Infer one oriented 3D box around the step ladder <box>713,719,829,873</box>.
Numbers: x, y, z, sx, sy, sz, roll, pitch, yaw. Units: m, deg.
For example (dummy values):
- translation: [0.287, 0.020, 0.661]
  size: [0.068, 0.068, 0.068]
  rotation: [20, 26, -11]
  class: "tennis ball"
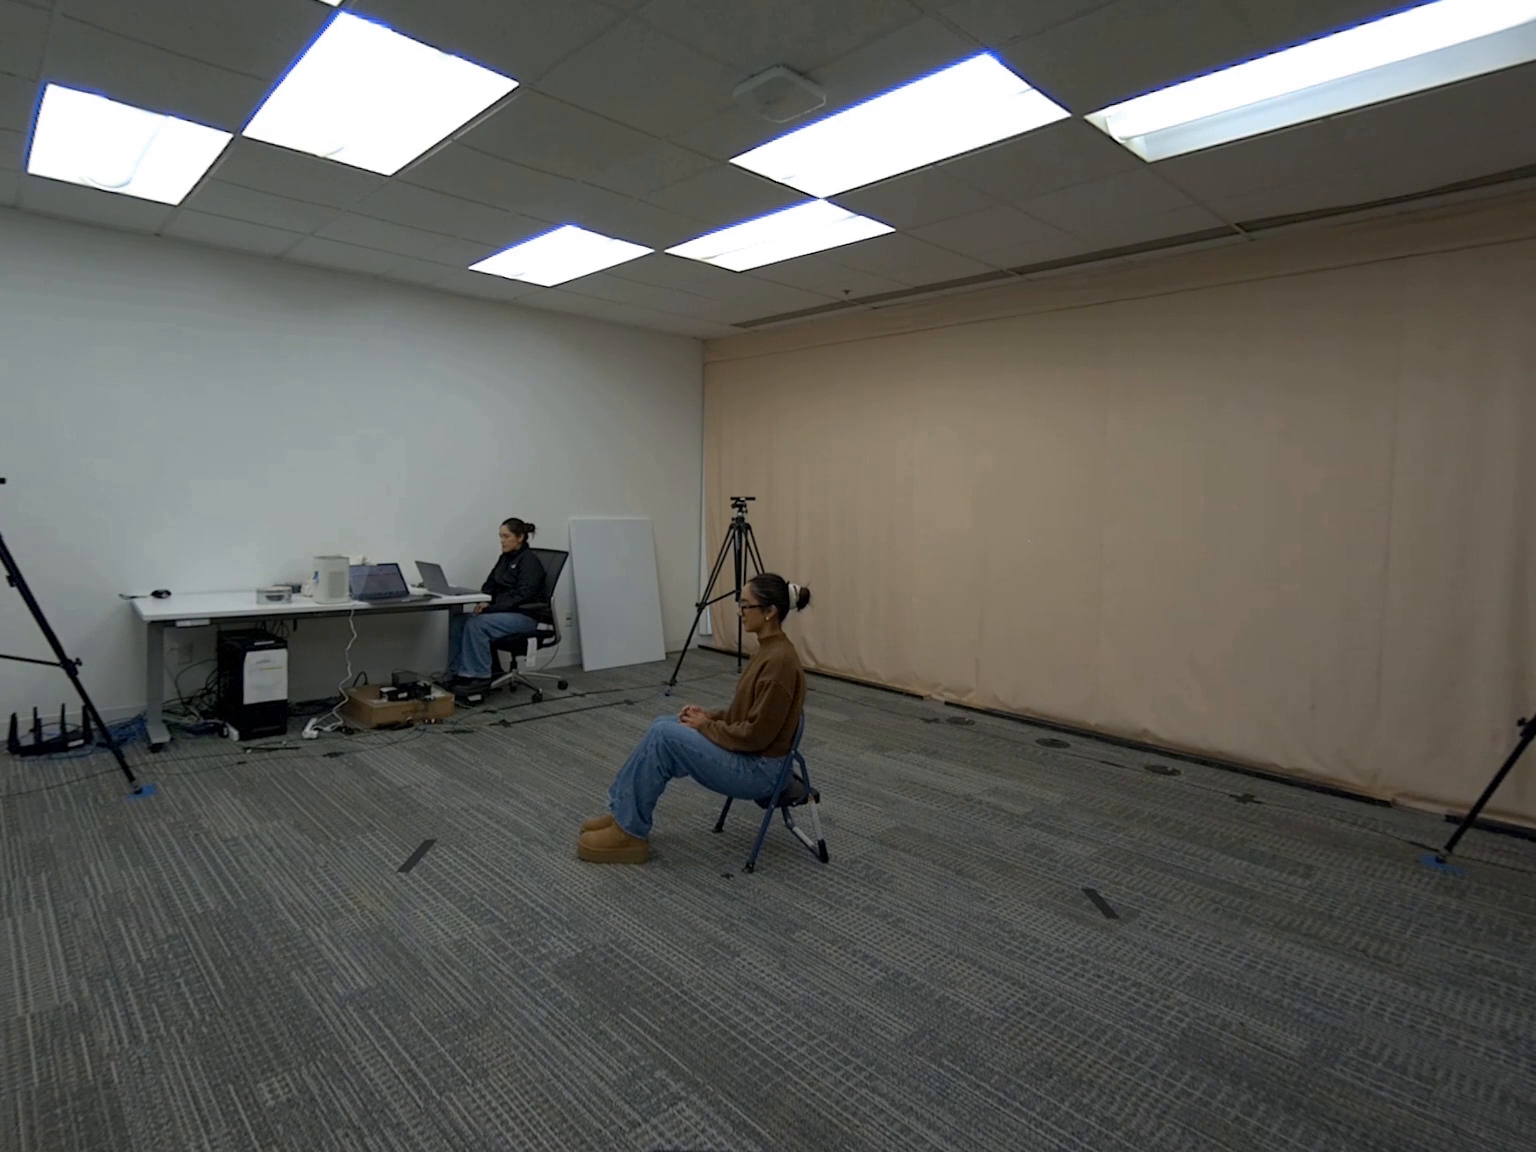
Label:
- translation: [0.007, 0.791, 3.364]
  size: [0.344, 0.604, 0.438]
  rotation: [0, 4, -20]
  class: "step ladder"
